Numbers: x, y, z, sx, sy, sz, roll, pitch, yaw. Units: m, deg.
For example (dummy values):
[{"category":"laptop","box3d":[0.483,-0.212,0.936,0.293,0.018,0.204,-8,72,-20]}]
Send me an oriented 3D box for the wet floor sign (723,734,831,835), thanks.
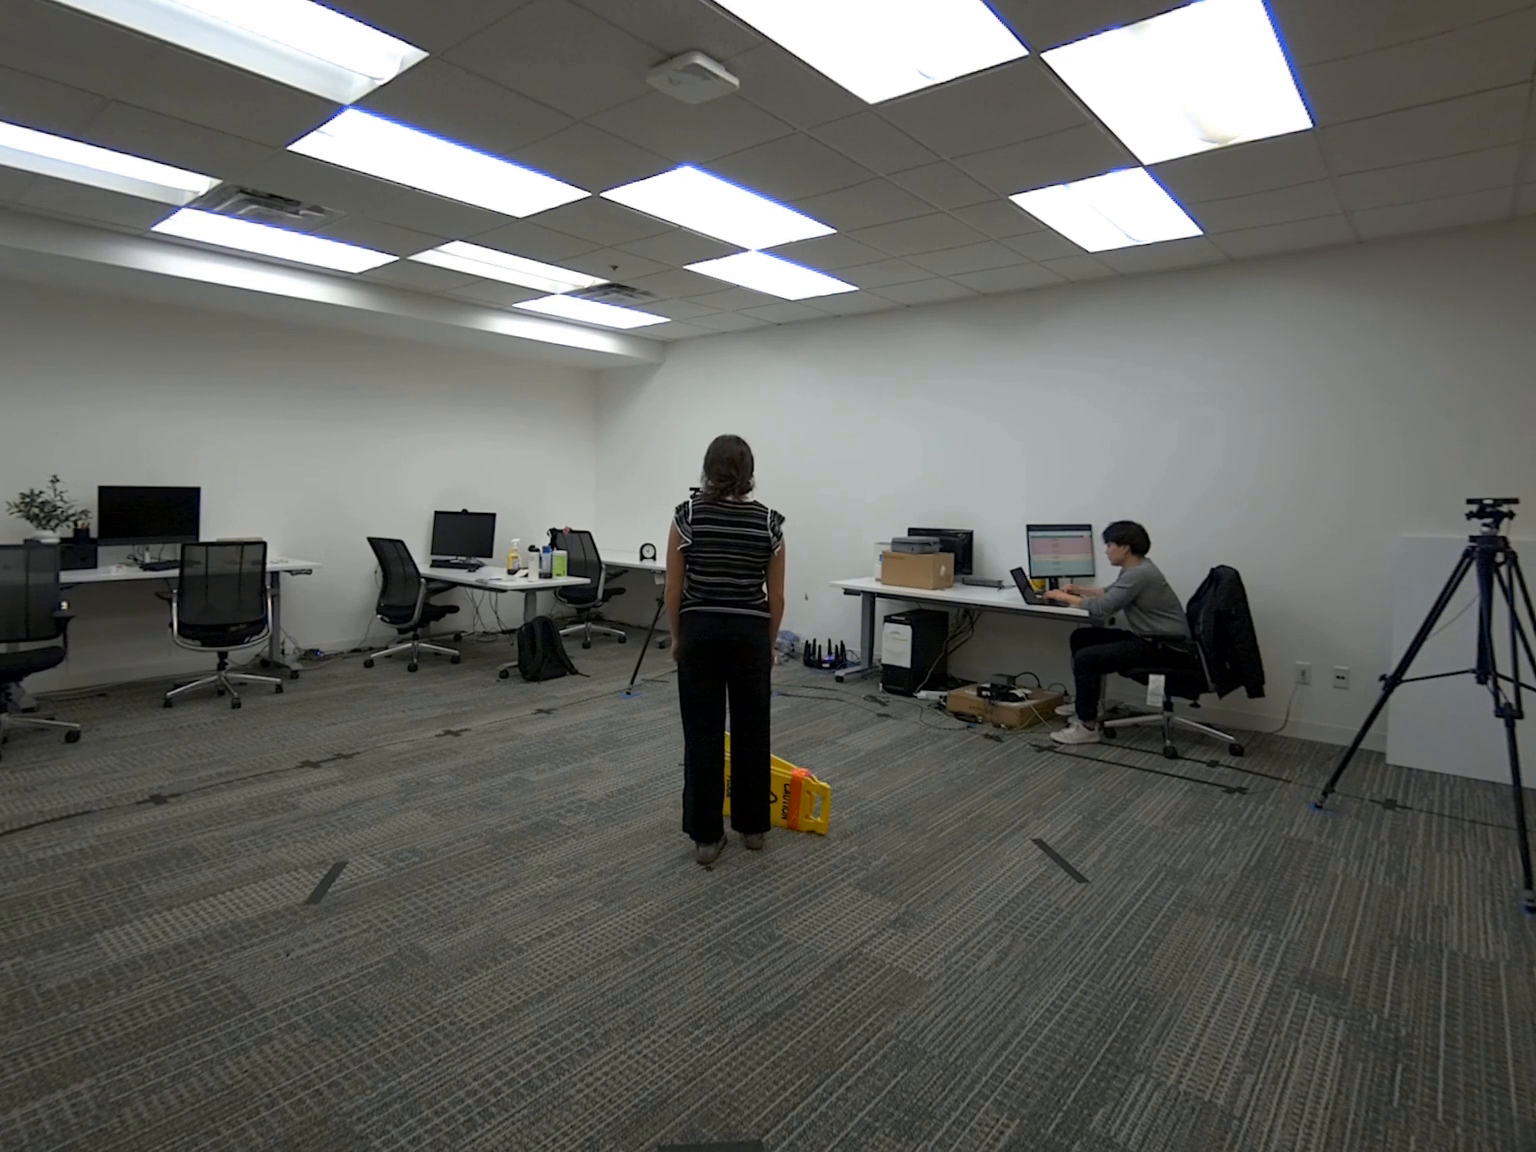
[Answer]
[{"category":"wet floor sign","box3d":[-0.026,0.897,3.622,0.668,0.281,0.281,8,6,36]}]
